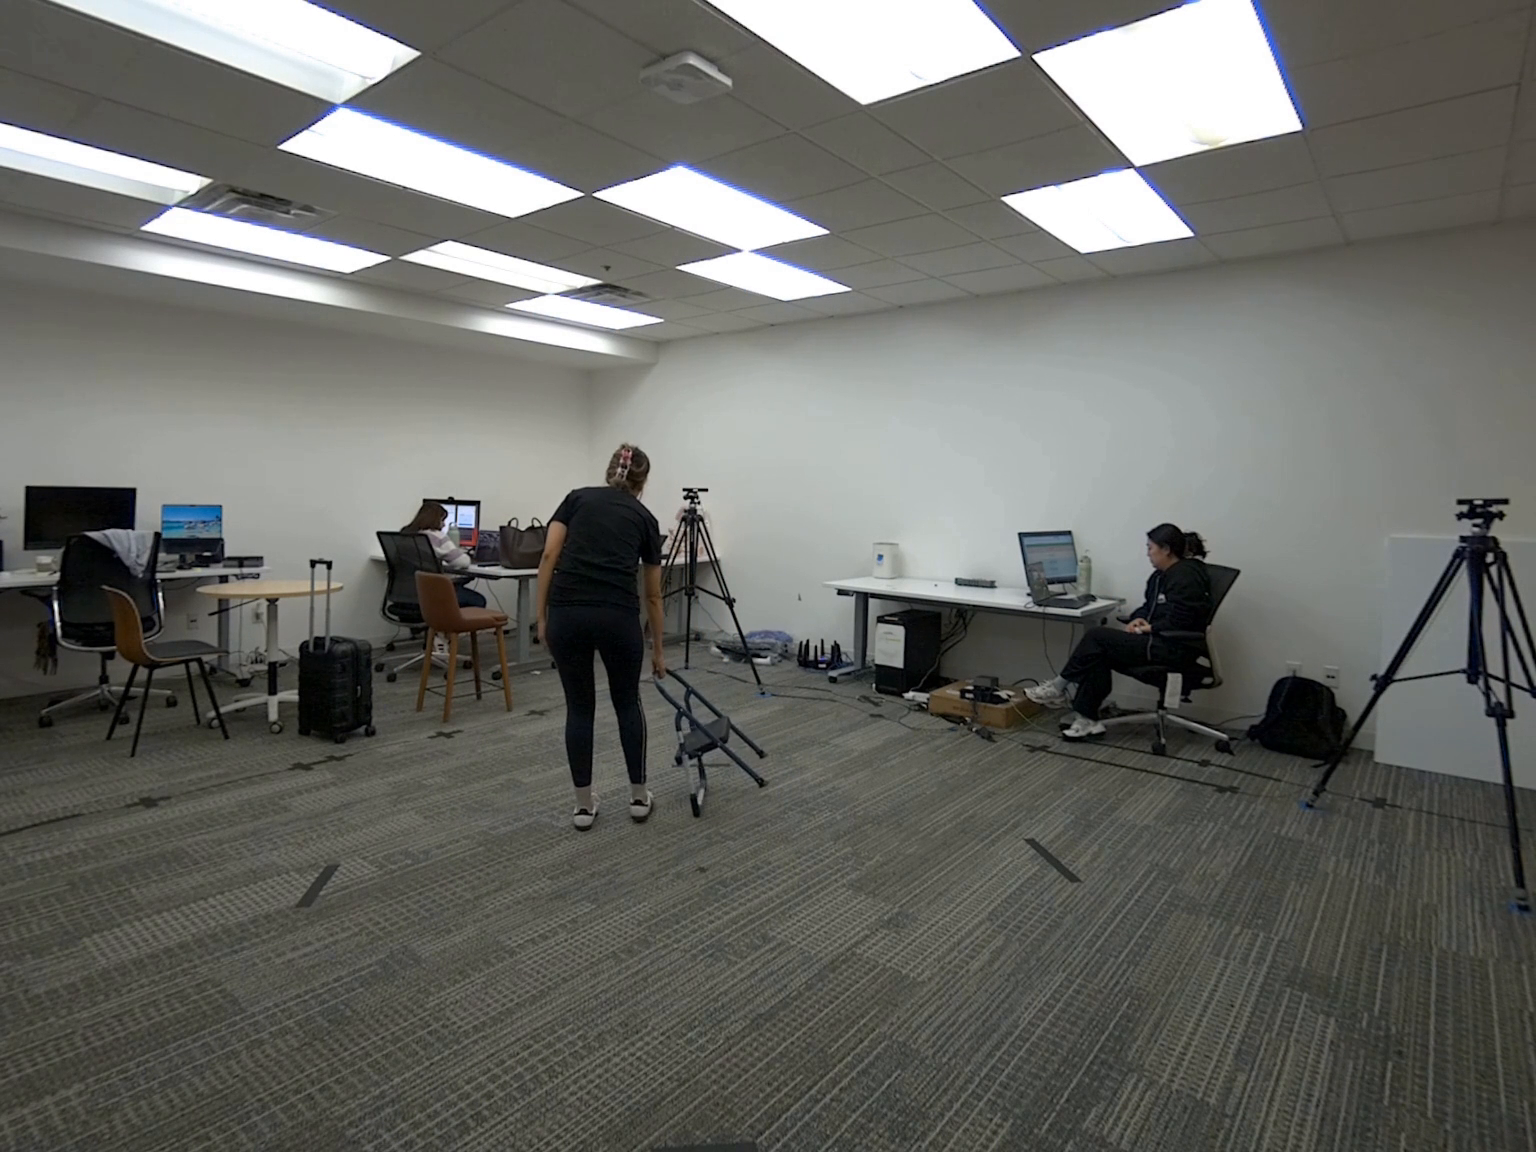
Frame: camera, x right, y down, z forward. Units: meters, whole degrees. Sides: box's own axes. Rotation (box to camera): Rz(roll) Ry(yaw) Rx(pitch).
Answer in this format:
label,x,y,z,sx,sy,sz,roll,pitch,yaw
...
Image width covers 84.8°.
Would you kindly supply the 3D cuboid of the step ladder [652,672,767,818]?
label,x,y,z,sx,sy,sz,roll,pitch,yaw
step ladder,-0.301,0.663,3.797,0.350,0.606,0.430,-26,2,3
